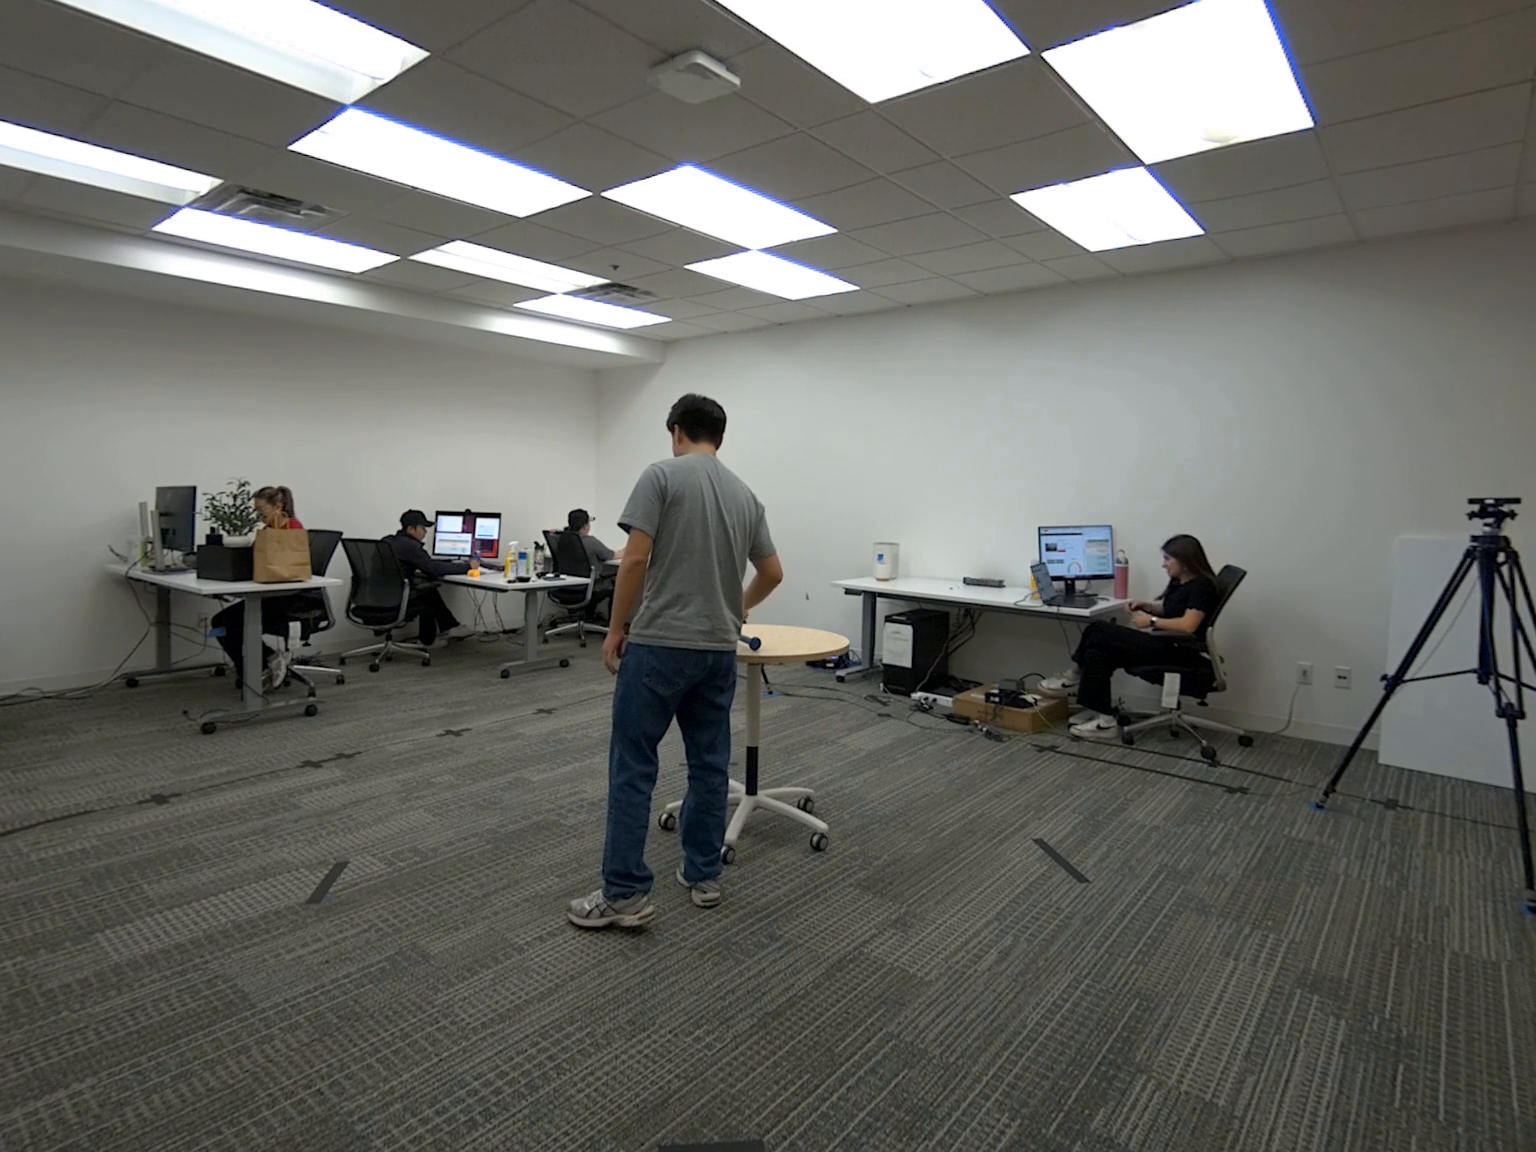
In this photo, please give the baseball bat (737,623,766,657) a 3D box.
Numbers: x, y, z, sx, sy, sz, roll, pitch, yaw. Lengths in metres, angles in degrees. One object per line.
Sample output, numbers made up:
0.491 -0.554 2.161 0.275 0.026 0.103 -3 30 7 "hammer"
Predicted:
-0.174 0.217 3.414 0.087 0.088 0.559 -1 9 -26 "baseball bat"
